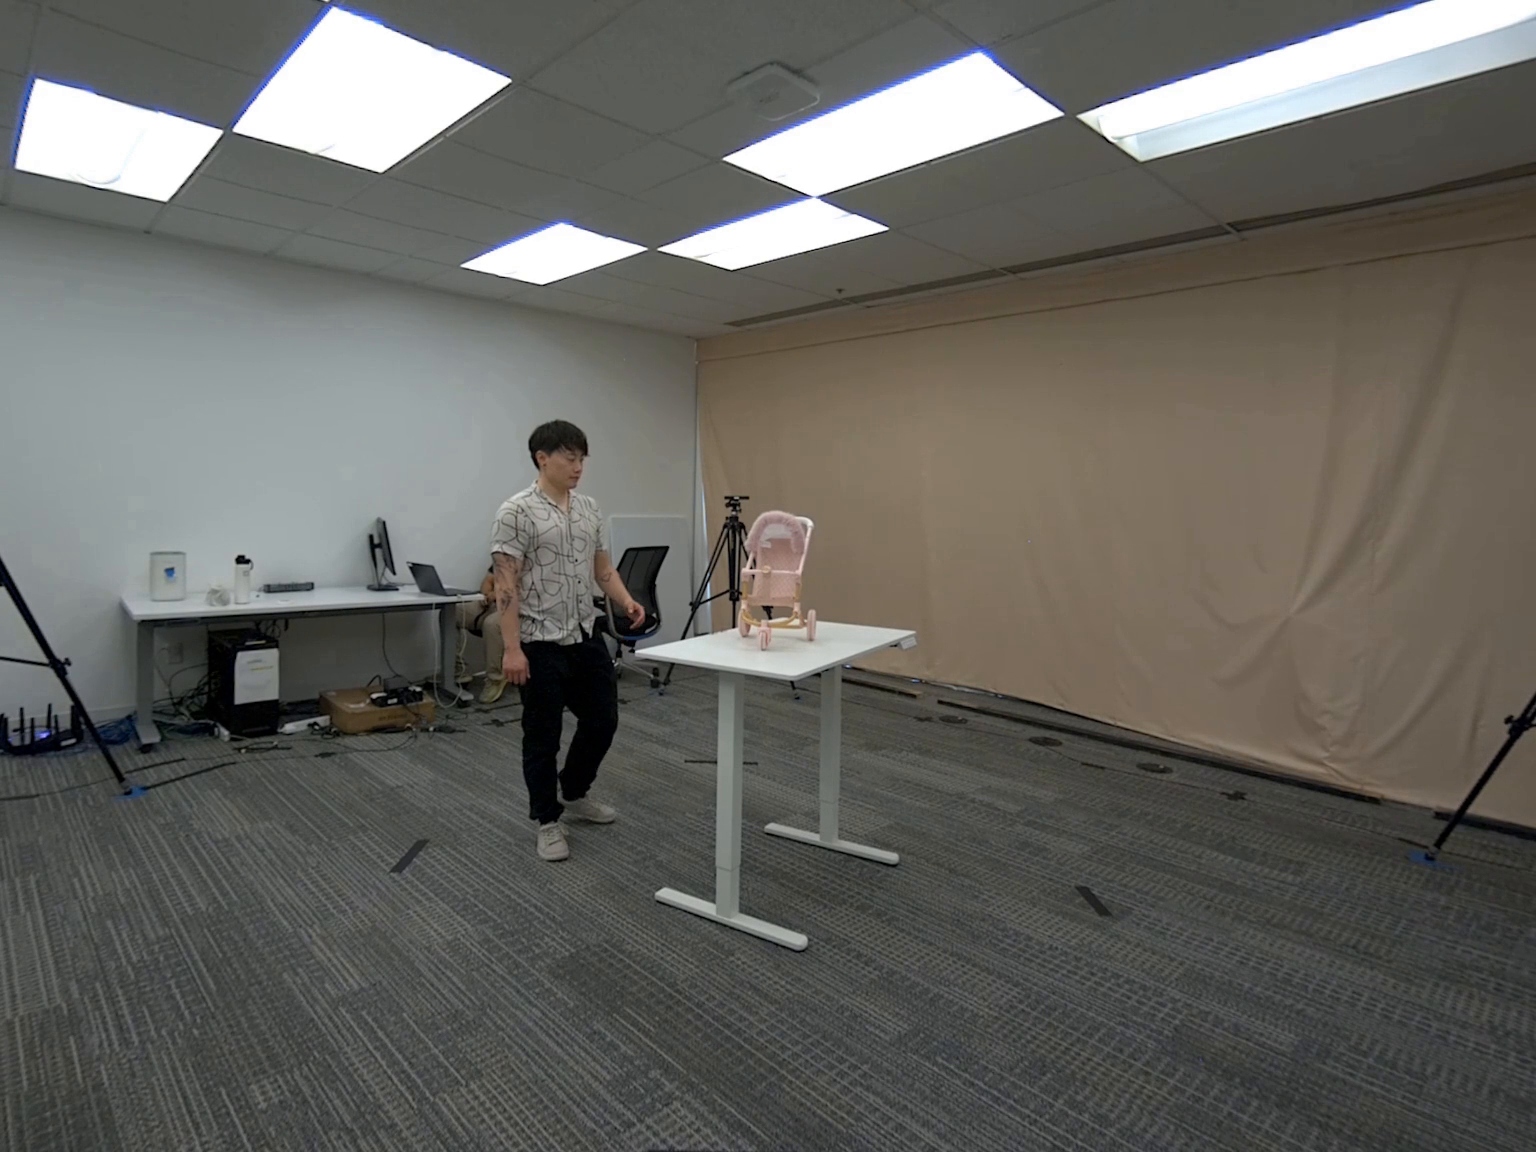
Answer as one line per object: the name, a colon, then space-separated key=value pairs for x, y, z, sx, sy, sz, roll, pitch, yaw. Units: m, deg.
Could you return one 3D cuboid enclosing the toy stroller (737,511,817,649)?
toy stroller: x=0.018 y=0.011 z=3.005 sx=0.285 sy=0.539 sz=0.334 roll=1 pitch=-11 yaw=16
